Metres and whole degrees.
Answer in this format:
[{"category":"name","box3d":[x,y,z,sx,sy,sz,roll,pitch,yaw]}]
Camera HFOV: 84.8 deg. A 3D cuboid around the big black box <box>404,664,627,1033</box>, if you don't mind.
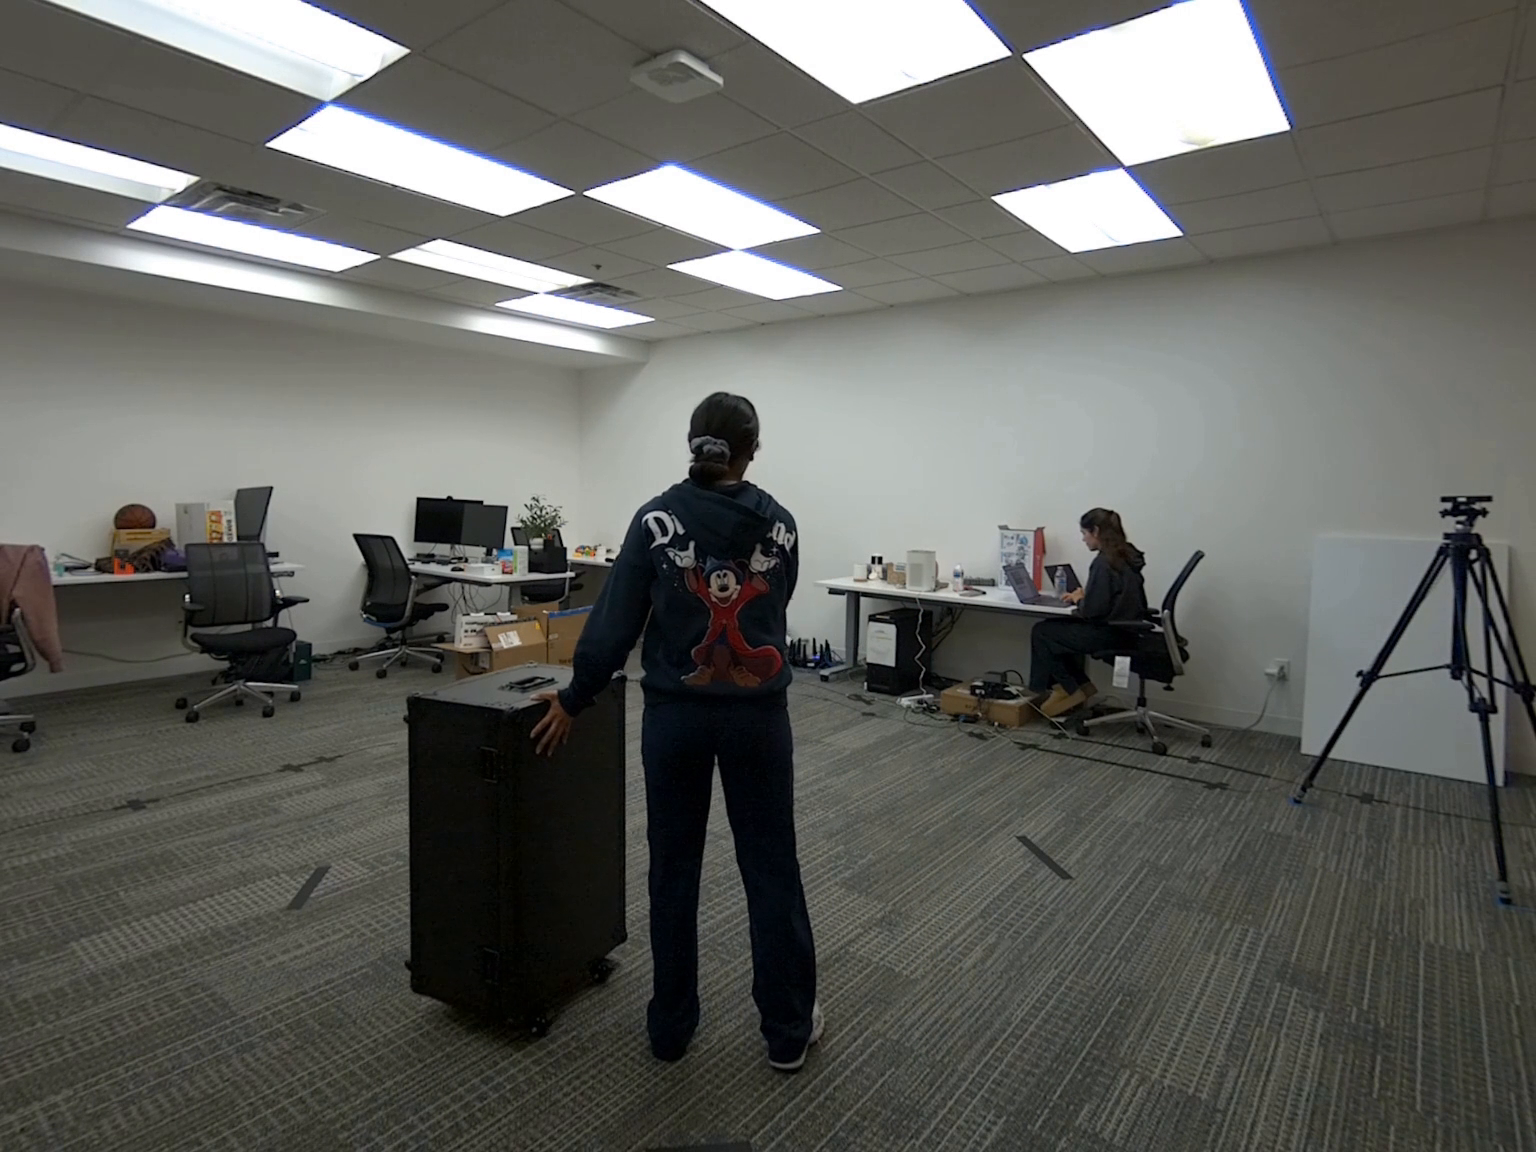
[{"category":"big black box","box3d":[-0.692,0.714,2.329,0.407,0.859,0.509,1,3,27]}]
